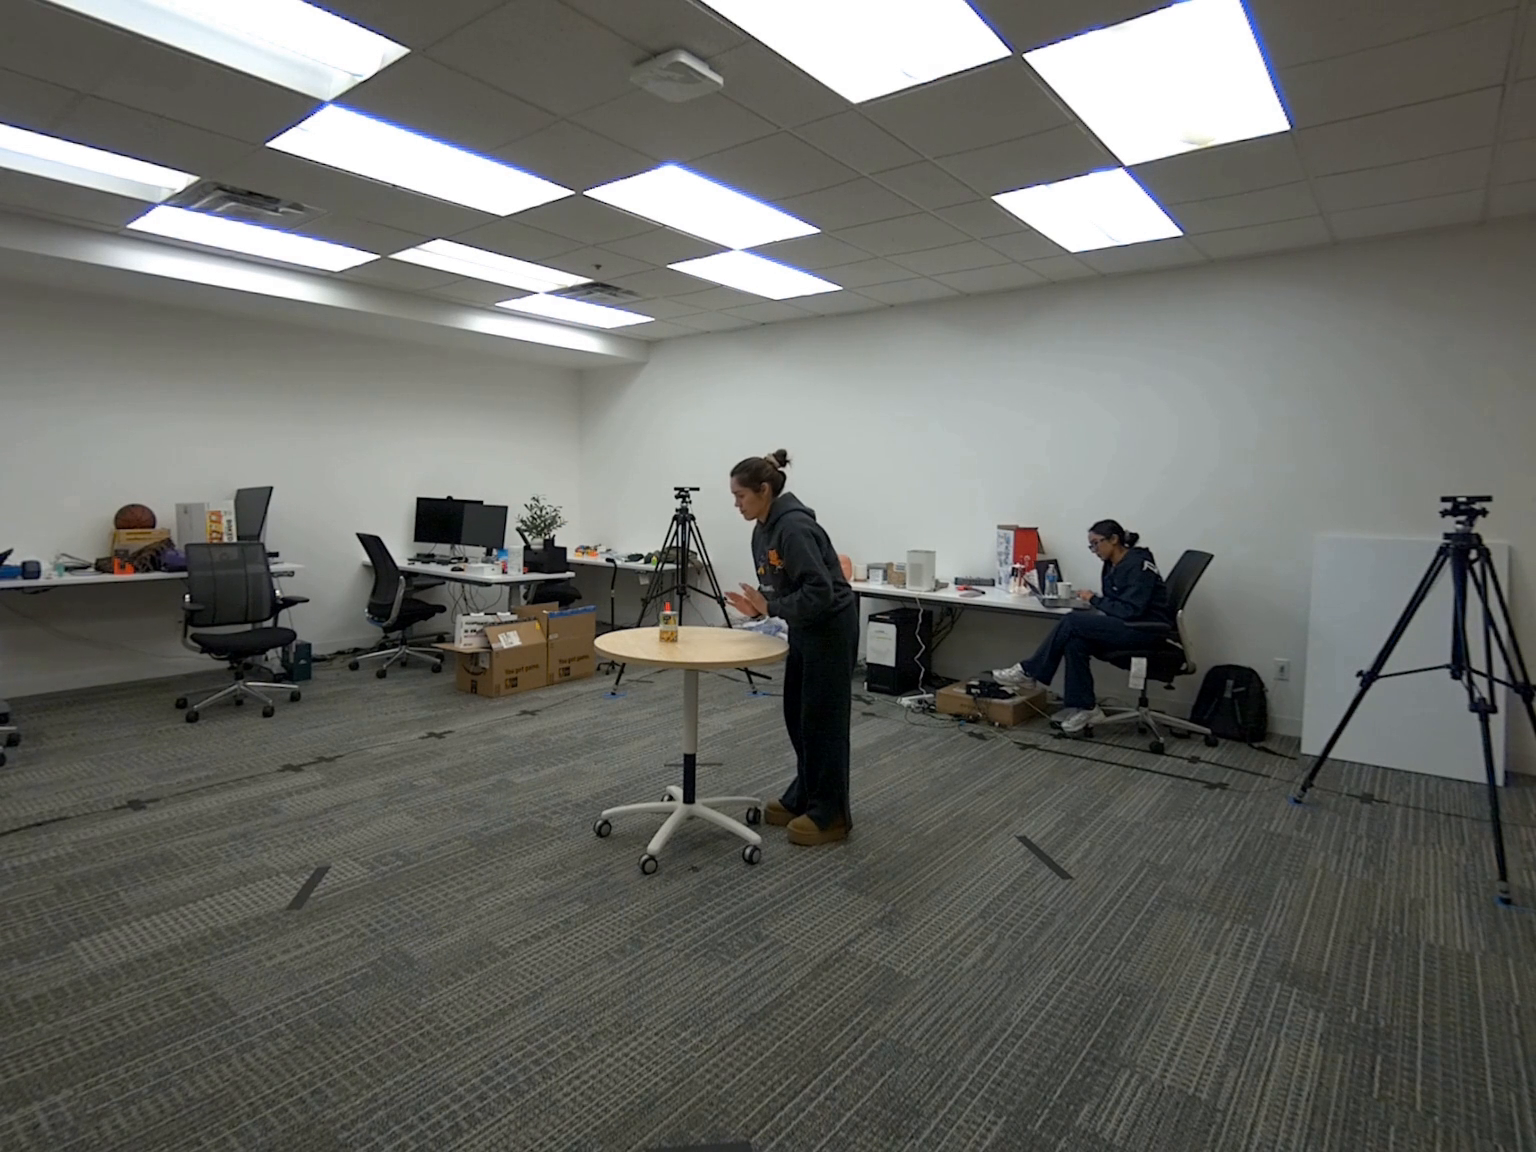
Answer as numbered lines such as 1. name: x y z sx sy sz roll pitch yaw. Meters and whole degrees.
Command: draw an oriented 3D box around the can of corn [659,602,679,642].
1. can of corn: -0.399 0.198 3.385 0.074 0.111 0.074 1 1 -2
